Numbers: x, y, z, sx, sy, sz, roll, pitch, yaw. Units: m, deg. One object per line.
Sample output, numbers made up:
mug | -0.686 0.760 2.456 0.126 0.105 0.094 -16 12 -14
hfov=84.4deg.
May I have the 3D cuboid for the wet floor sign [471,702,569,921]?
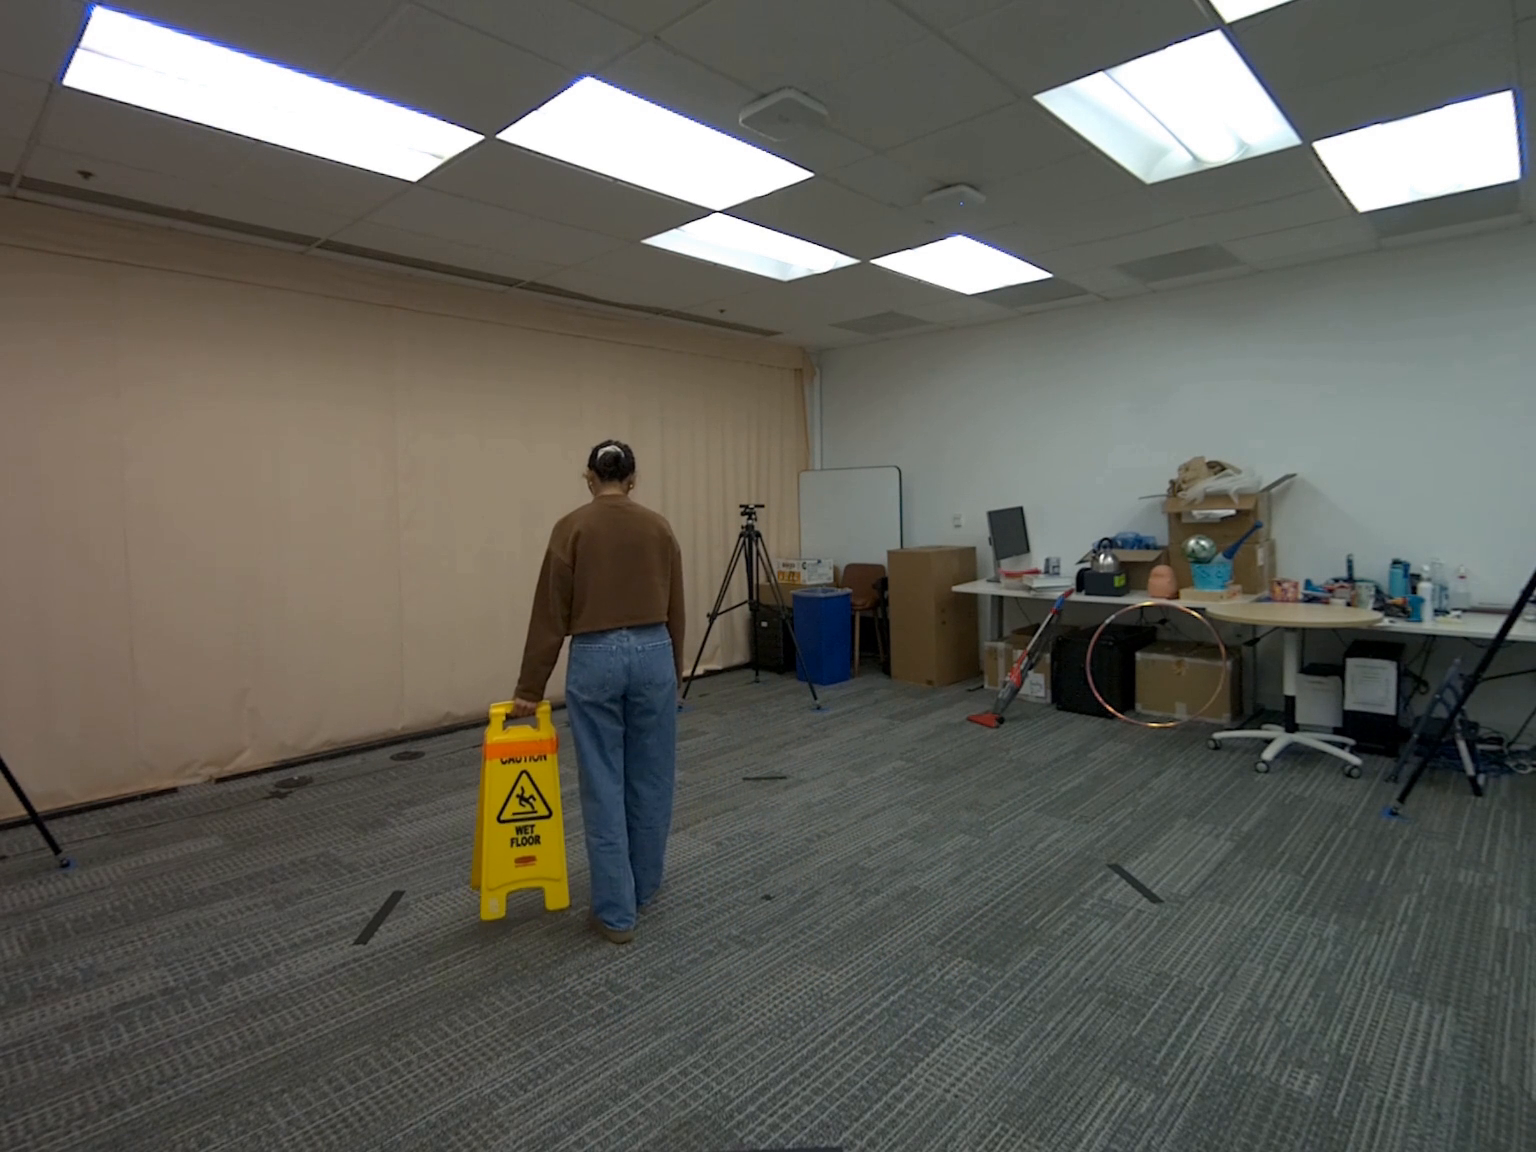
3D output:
wet floor sign | -0.821 0.746 2.785 0.276 0.646 0.297 0 1 -24
